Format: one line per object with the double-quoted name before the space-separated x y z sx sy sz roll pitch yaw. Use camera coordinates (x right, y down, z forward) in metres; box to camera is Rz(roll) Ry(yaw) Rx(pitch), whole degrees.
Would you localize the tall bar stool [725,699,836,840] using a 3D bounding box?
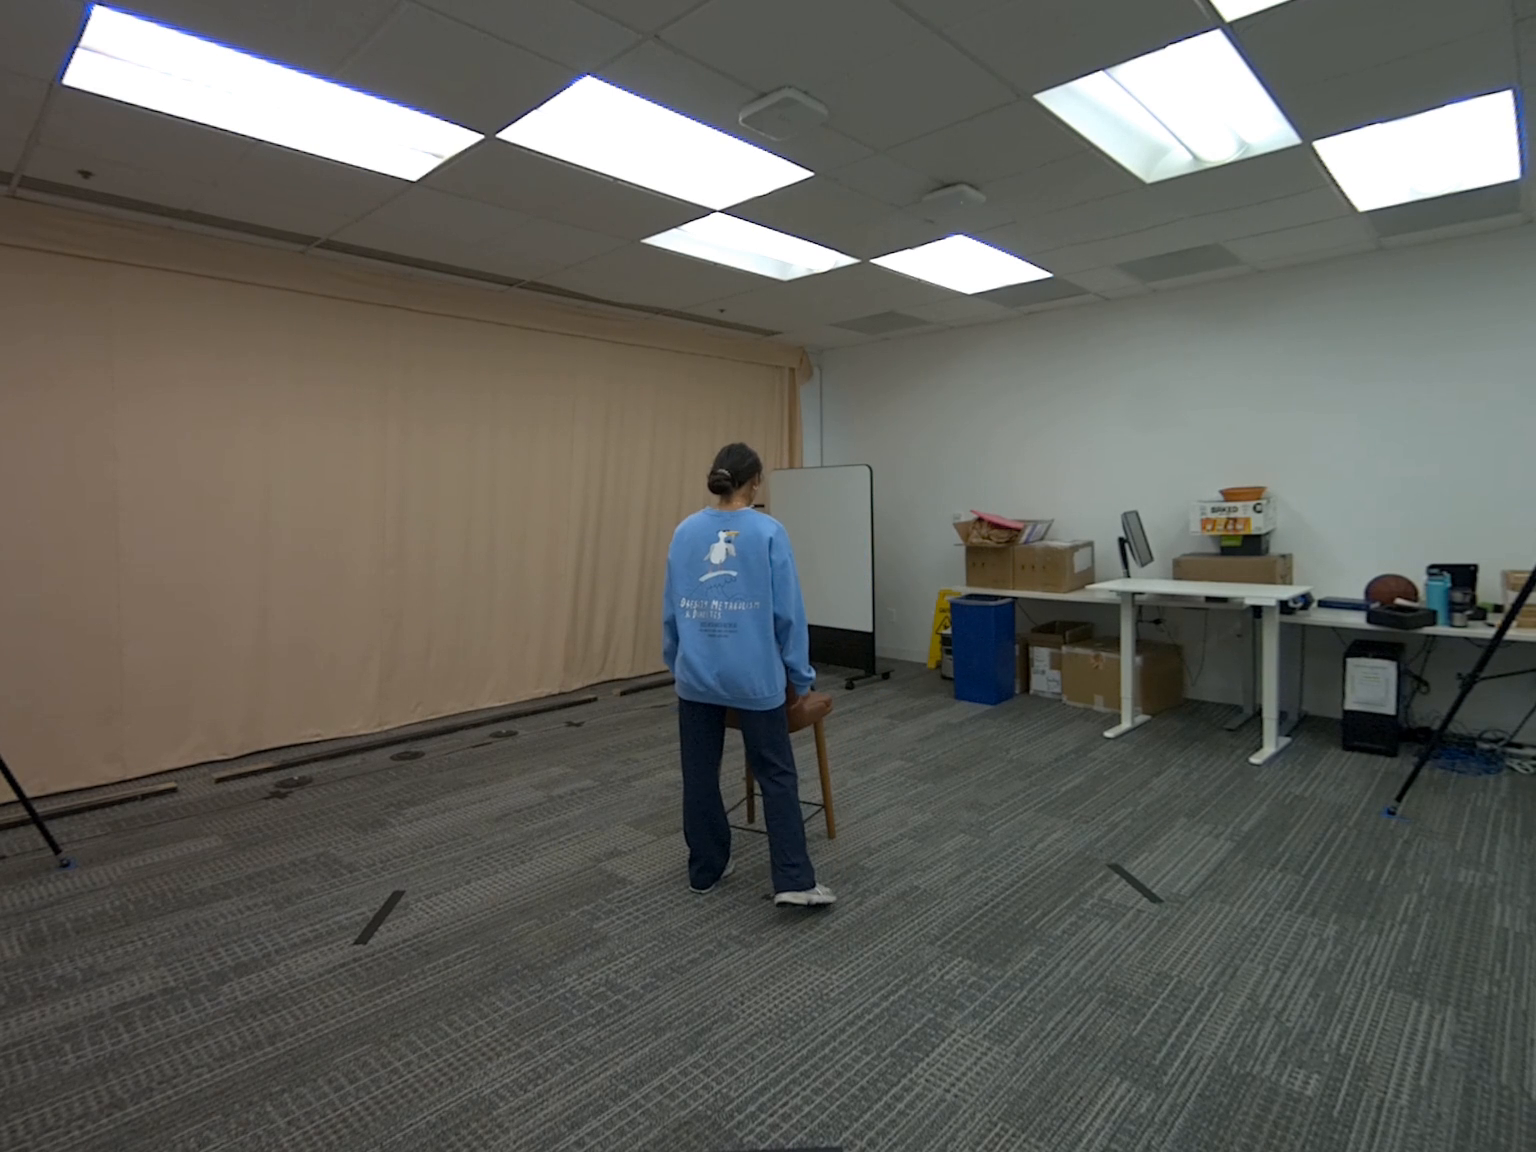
"tall bar stool" -0.006 0.665 3.379 0.469 0.887 0.456 1 6 29
